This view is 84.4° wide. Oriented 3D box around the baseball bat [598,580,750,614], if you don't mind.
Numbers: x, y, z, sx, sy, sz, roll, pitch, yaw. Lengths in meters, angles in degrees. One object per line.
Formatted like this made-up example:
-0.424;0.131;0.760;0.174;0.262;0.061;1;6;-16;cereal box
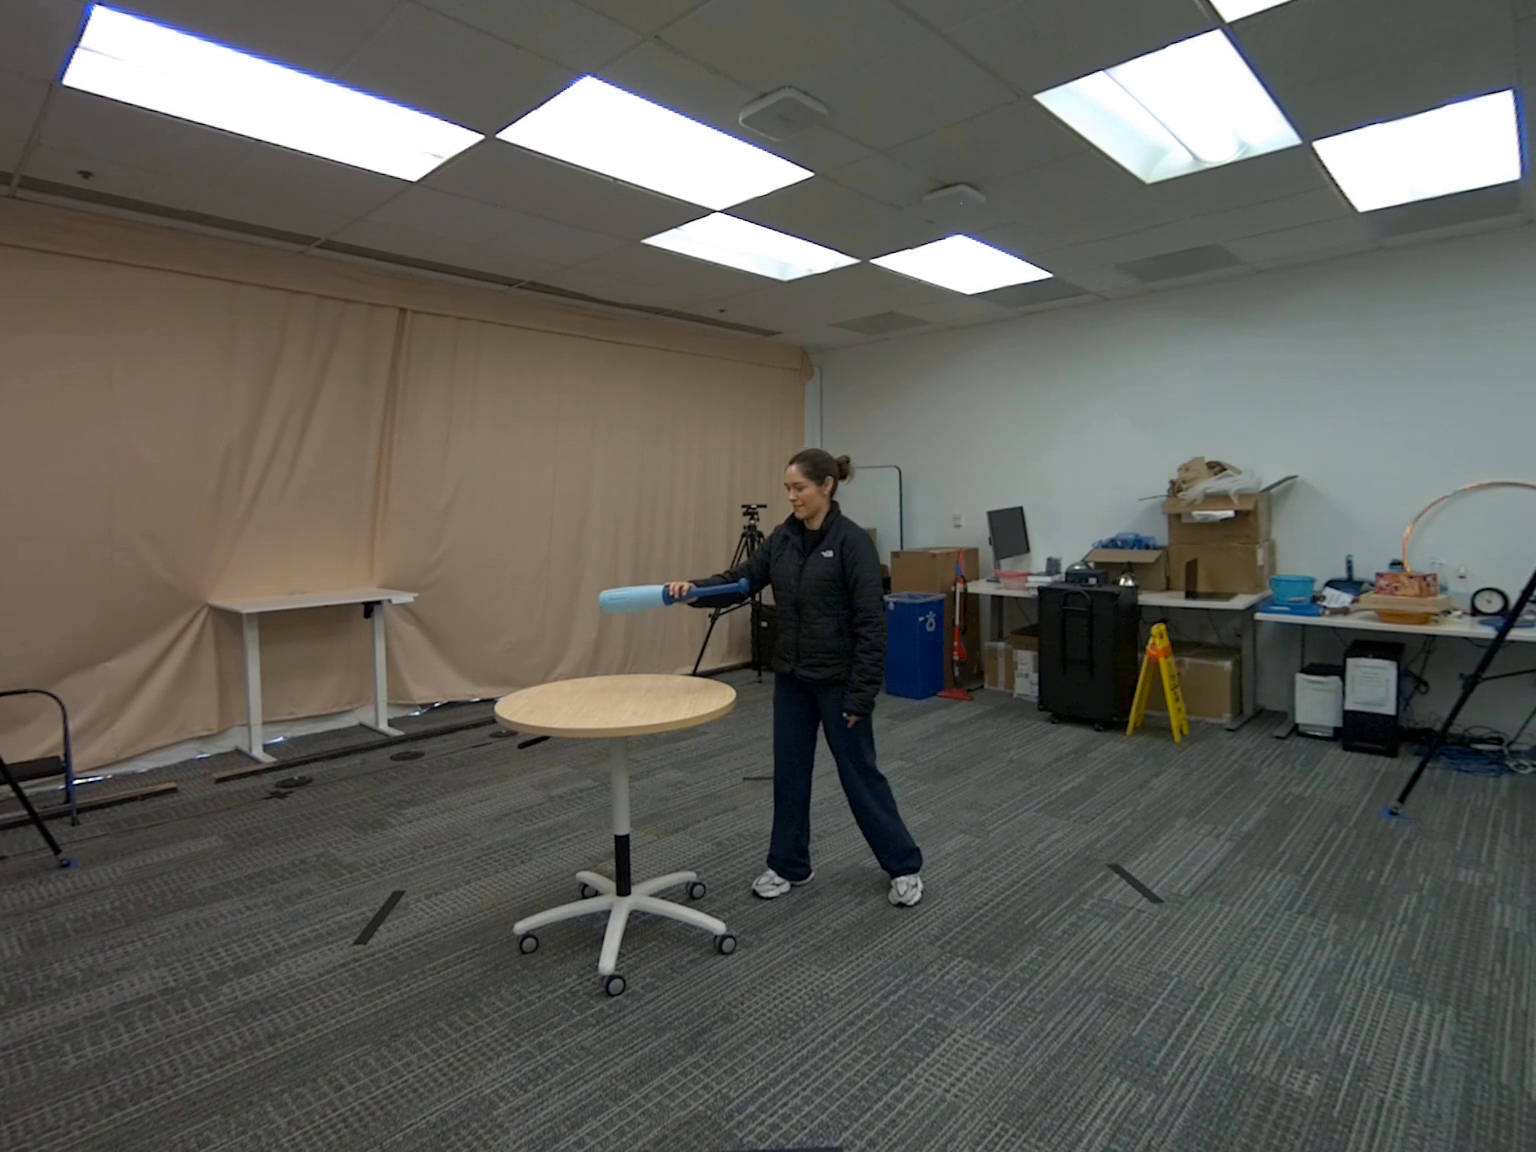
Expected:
-0.298;0.067;2.816;0.553;0.089;0.087;-6;2;19;baseball bat
